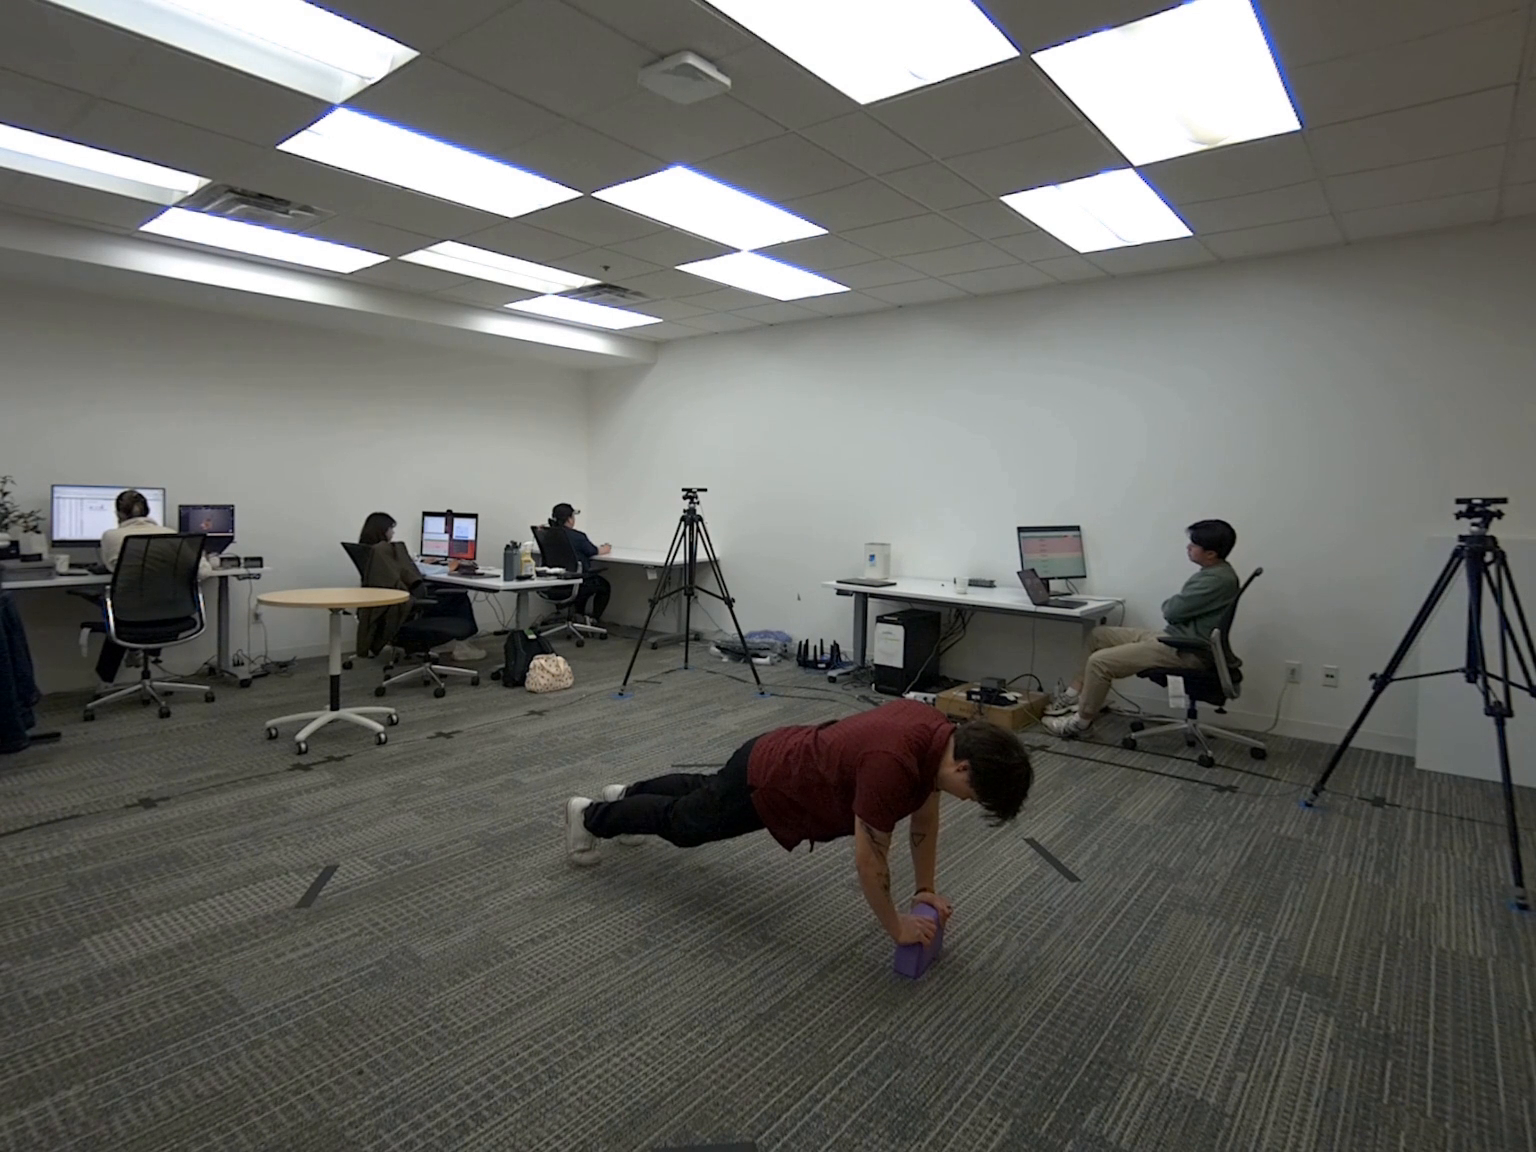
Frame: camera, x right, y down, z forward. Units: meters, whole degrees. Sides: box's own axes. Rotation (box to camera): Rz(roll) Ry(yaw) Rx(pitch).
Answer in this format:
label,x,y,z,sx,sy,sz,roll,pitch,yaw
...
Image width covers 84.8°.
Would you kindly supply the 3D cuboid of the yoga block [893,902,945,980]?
label,x,y,z,sx,sy,sz,roll,pitch,yaw
yoga block,0.454,1.073,2.541,0.079,0.148,0.223,12,9,29
